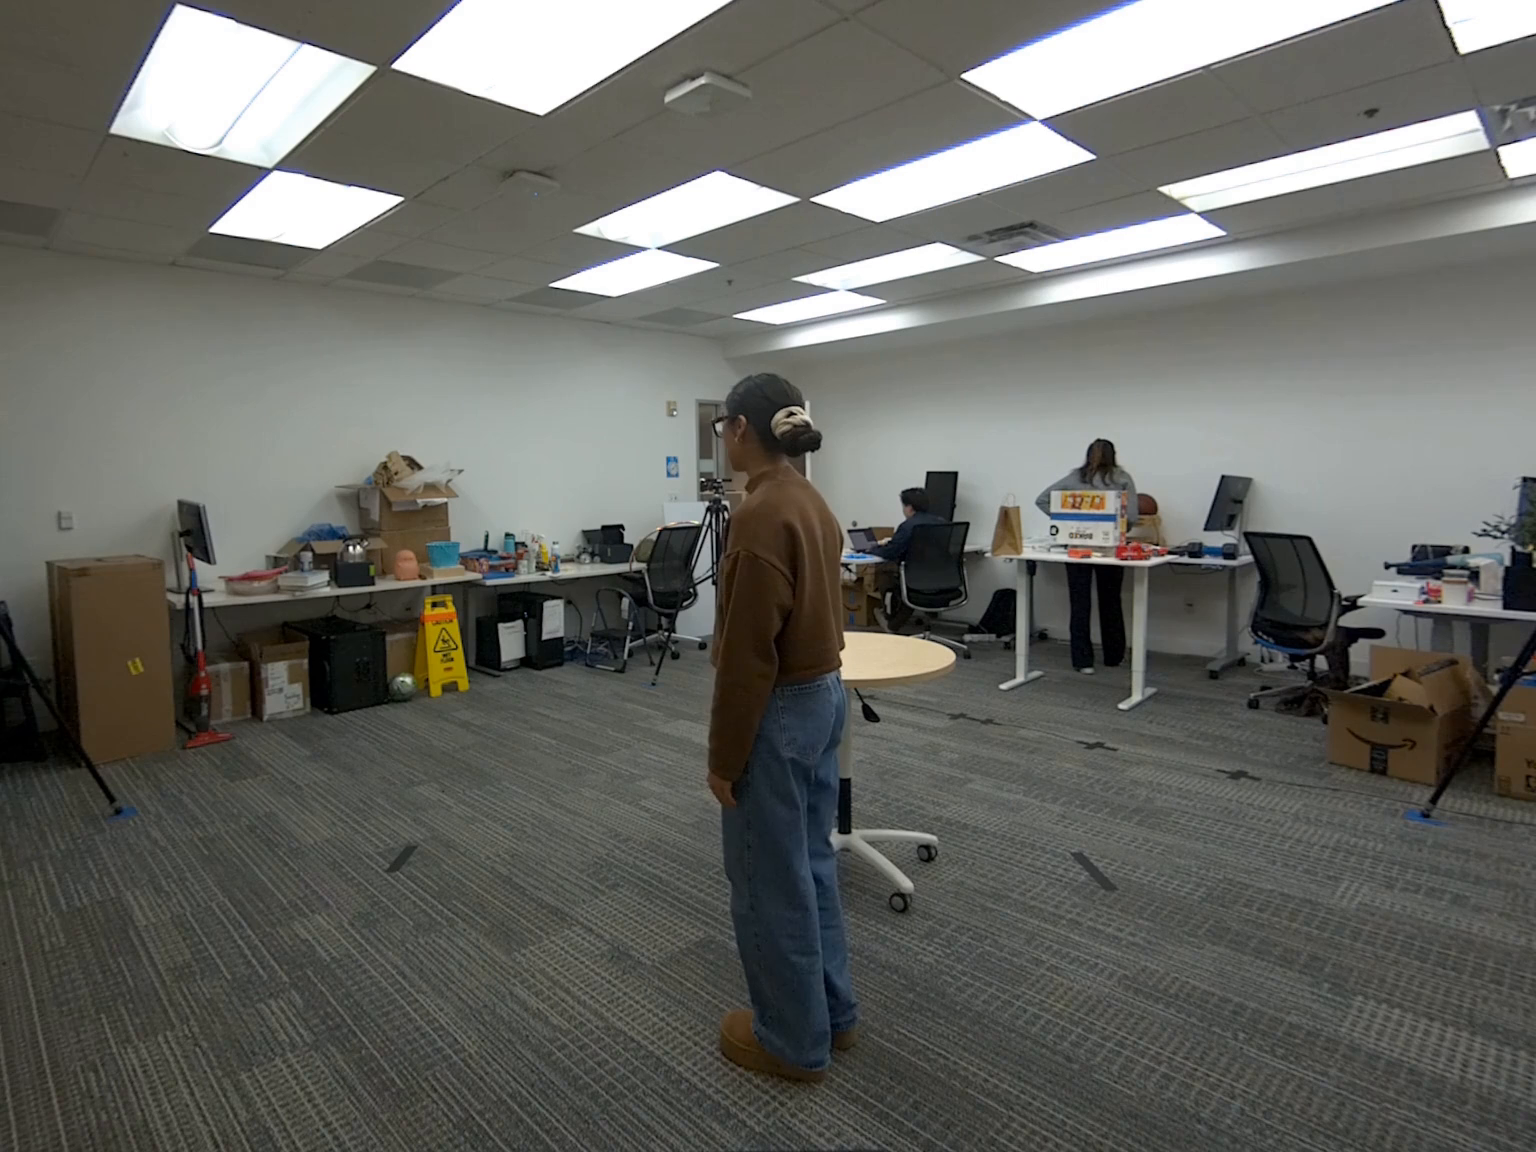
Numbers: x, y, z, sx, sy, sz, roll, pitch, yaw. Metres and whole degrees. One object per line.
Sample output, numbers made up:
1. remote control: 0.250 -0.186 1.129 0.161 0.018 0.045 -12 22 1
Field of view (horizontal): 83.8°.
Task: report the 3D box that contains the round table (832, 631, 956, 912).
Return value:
1. round table: 0.269 0.661 3.010 0.763 0.791 0.768 -1 5 -2
